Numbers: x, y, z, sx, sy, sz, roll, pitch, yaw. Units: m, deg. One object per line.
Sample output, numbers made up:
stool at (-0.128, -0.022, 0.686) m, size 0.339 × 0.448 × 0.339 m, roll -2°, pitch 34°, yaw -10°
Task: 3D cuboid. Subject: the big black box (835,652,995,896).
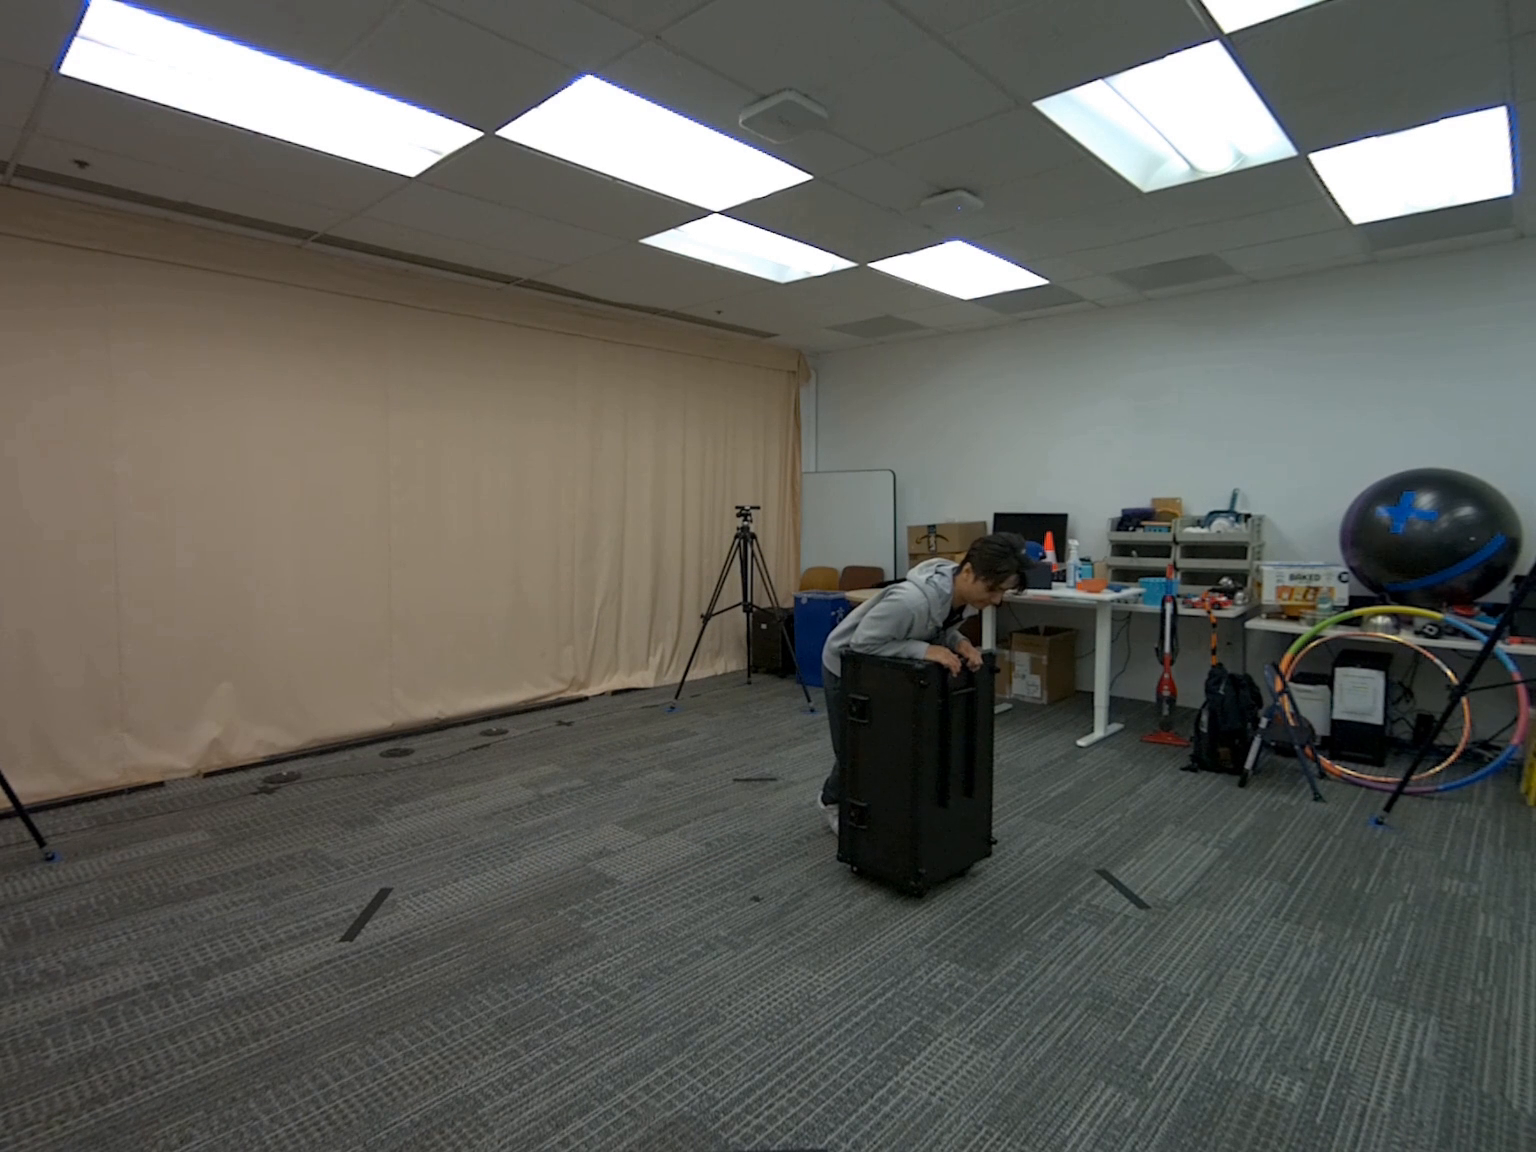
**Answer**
big black box at (0.573, 0.711, 3.143) m, size 0.505 × 0.859 × 0.409 m, roll -3°, pitch 5°, yaw -42°
